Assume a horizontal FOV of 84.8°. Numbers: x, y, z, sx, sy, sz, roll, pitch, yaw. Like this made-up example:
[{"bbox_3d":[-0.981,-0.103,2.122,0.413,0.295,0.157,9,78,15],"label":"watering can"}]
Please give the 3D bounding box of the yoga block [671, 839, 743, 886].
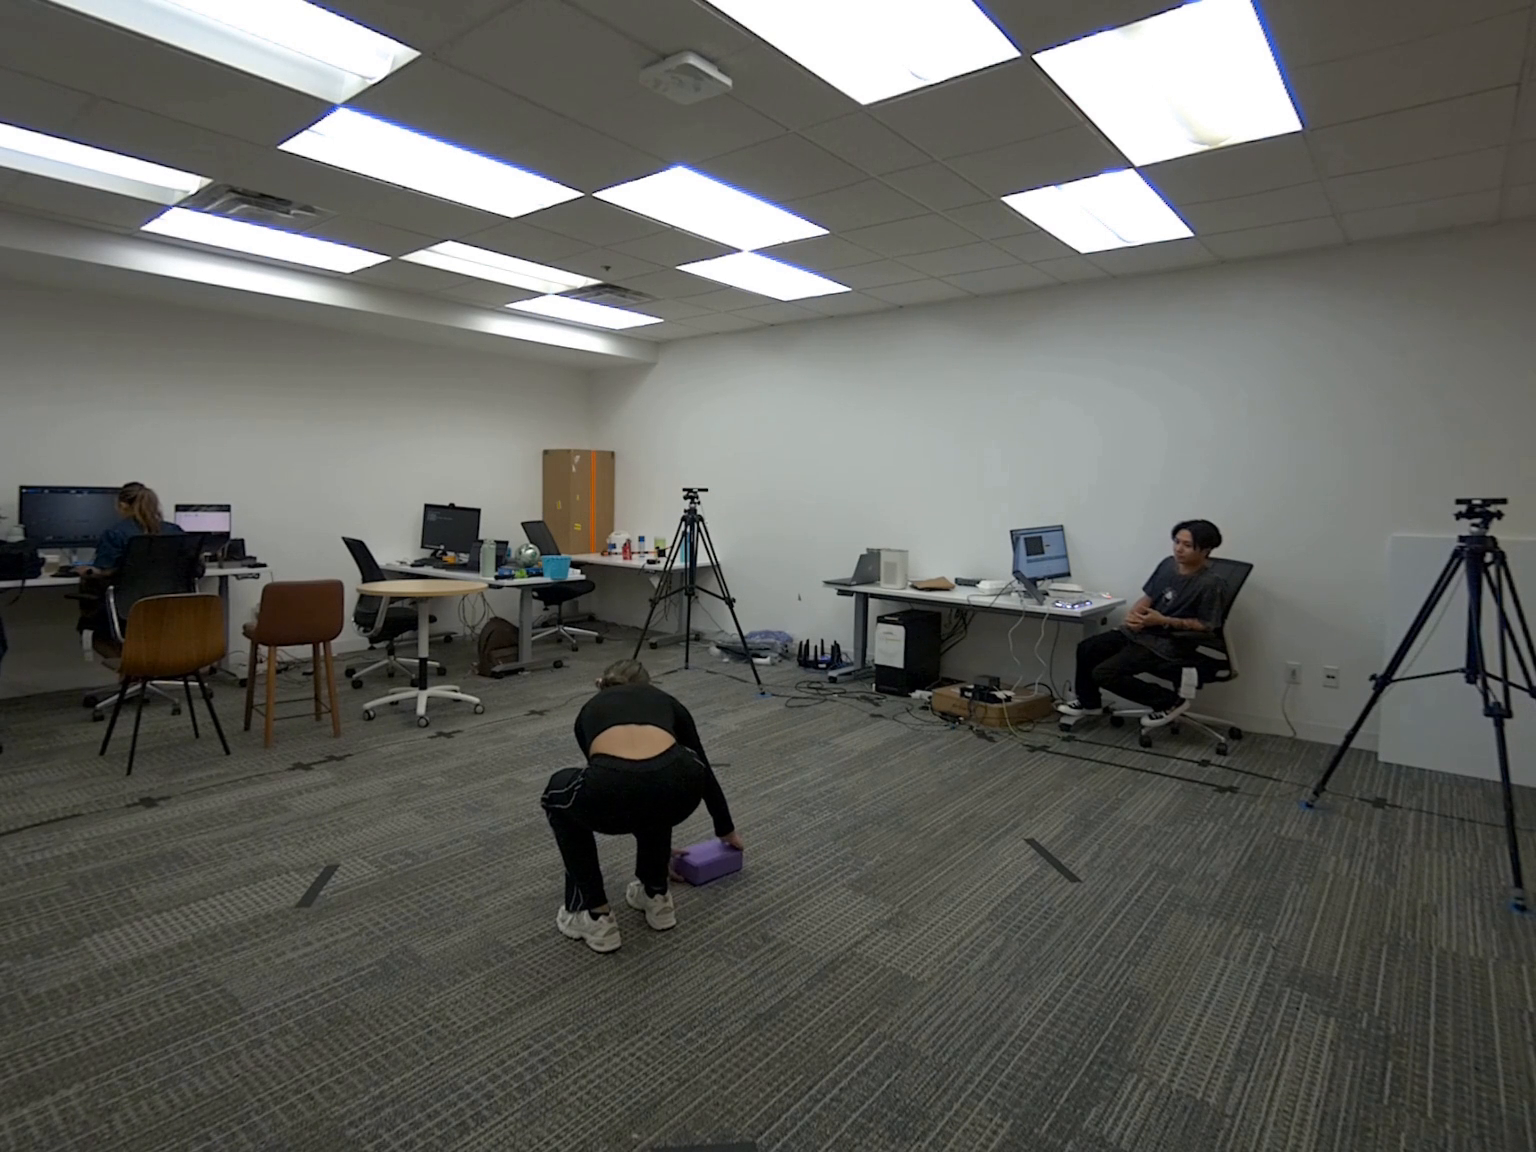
[{"bbox_3d":[-0.230,1.028,3.089,0.222,0.076,0.154,-1,3,-44],"label":"yoga block"}]
